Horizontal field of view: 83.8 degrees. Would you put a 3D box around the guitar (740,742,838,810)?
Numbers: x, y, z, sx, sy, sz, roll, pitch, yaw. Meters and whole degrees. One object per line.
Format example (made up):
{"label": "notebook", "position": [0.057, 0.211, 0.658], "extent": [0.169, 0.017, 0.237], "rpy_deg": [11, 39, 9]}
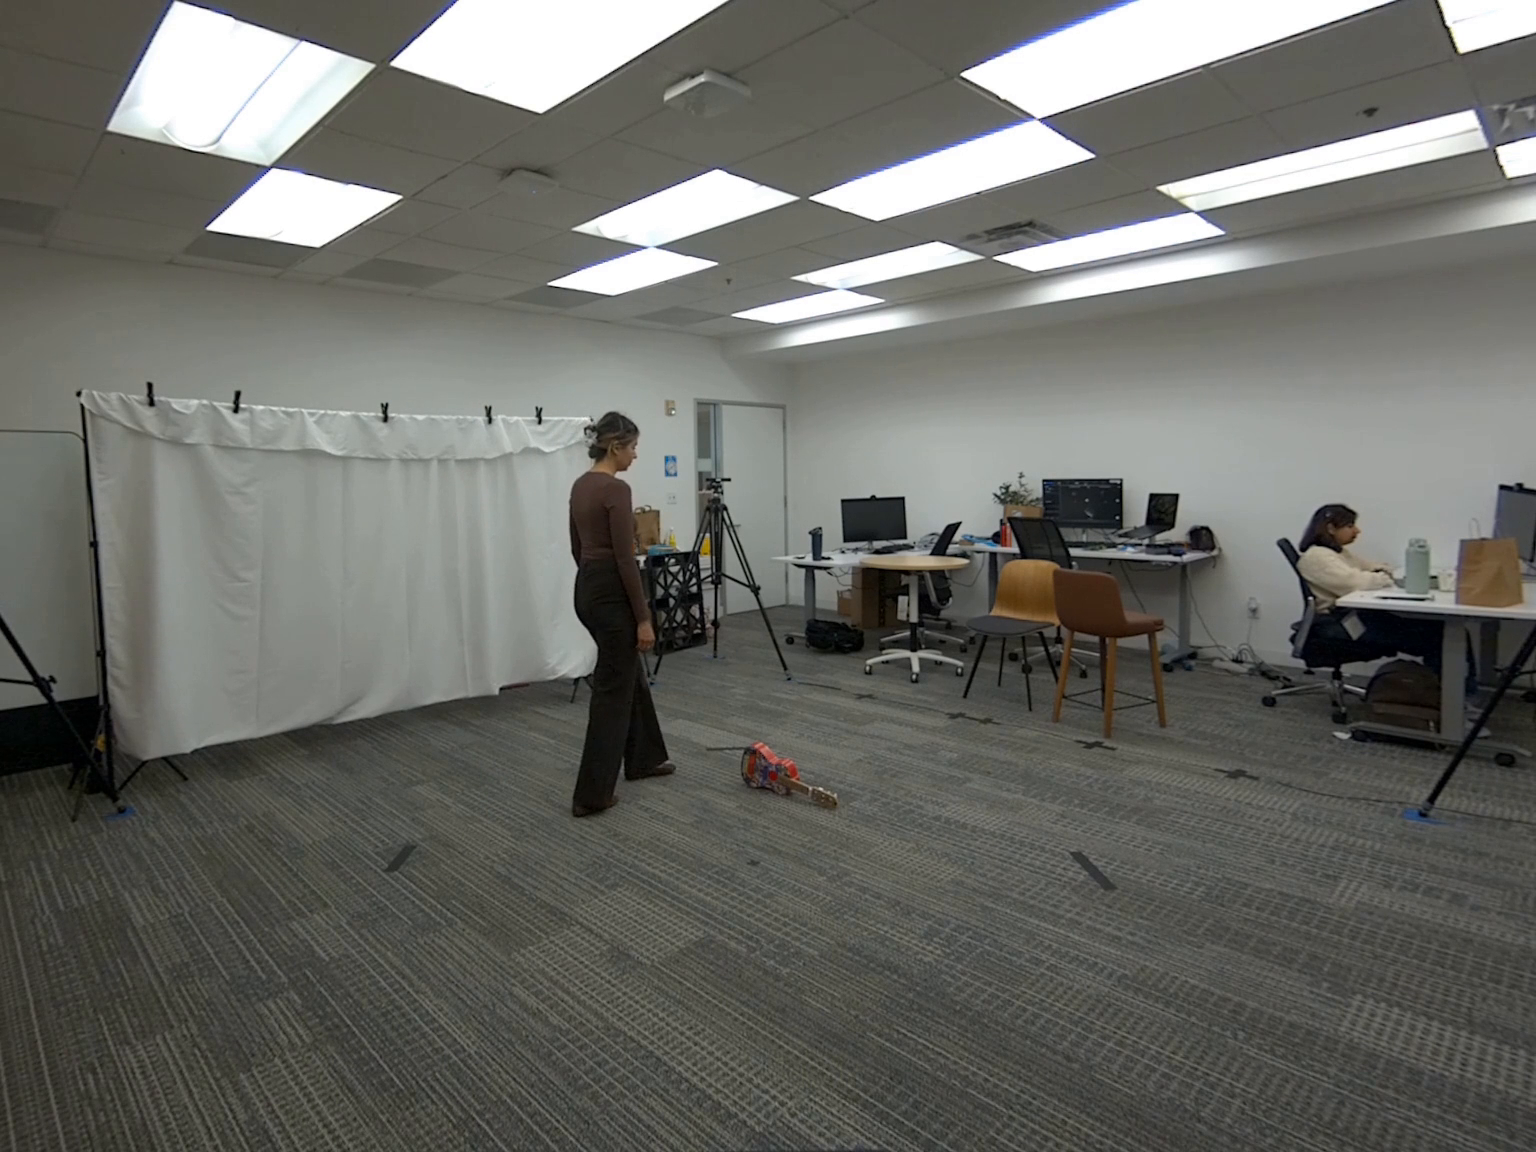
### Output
{"label": "guitar", "position": [0.093, 0.925, 3.767], "extent": [0.515, 0.191, 0.069], "rpy_deg": [24, 19, 32]}
